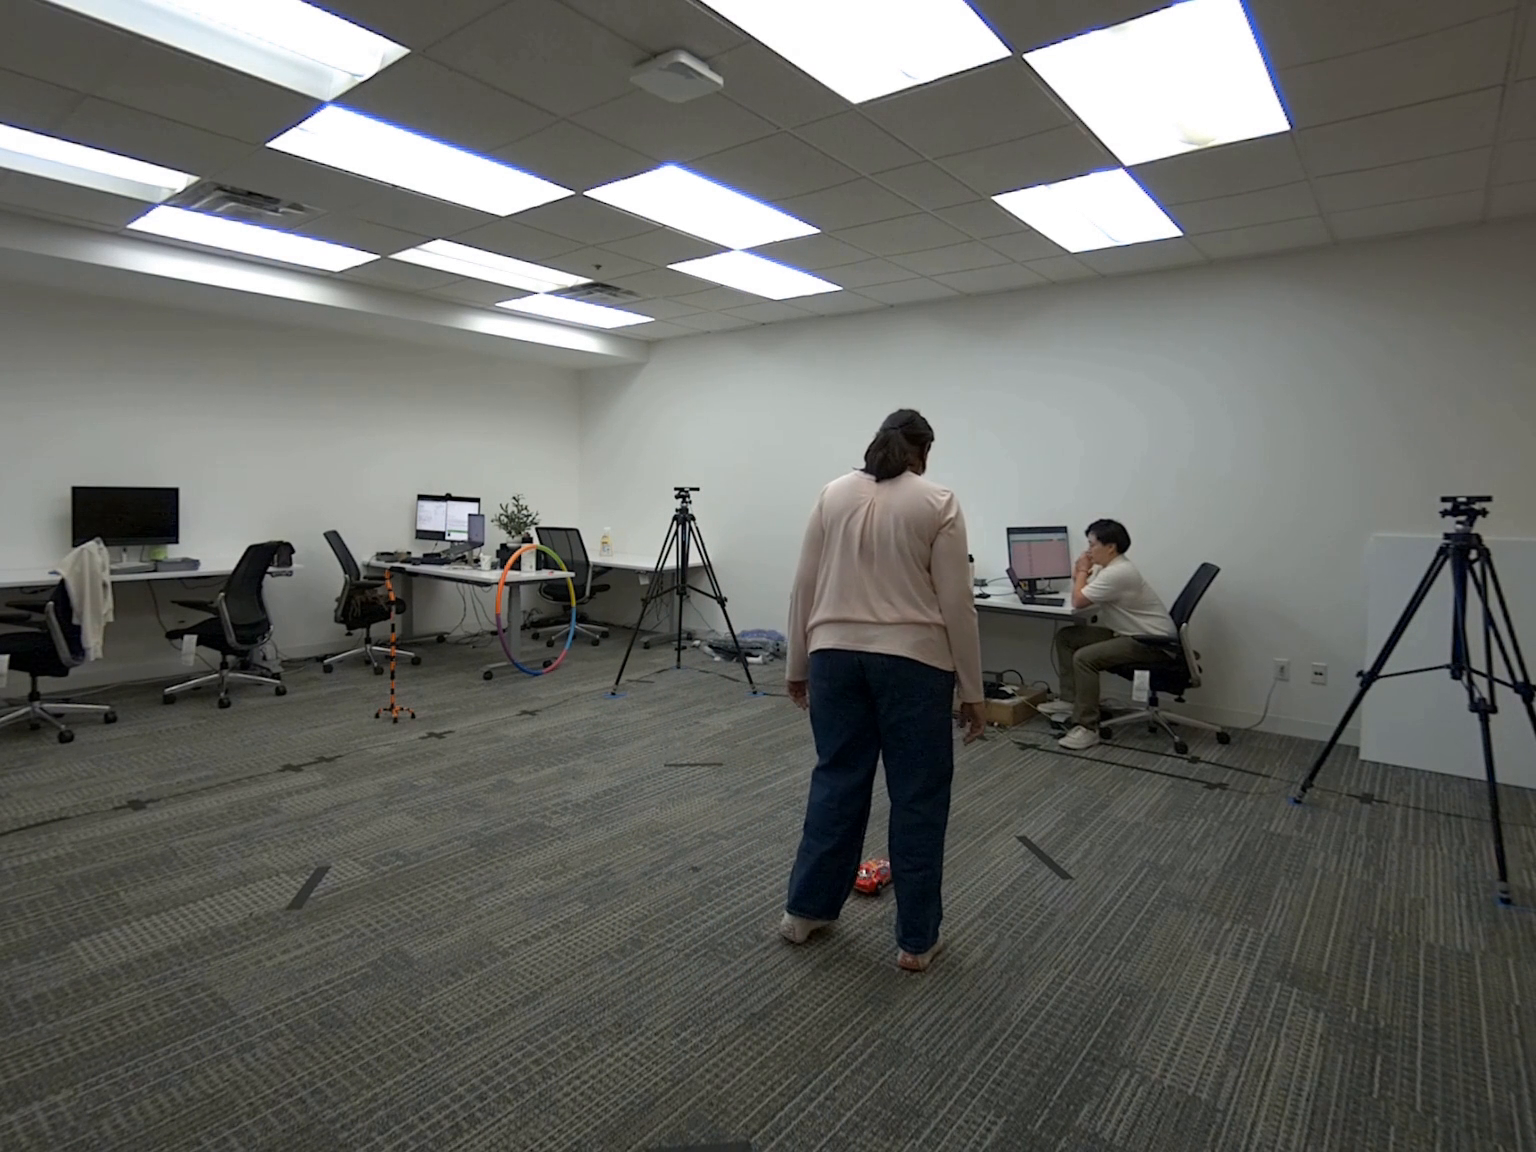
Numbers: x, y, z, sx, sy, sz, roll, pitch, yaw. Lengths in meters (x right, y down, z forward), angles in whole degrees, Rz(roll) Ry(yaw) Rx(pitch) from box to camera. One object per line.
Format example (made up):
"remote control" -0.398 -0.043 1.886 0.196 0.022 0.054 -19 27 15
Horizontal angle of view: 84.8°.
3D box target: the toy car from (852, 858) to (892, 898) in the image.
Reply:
"toy car" 0.365 1.053 3.005 0.135 0.083 0.245 5 -3 39
